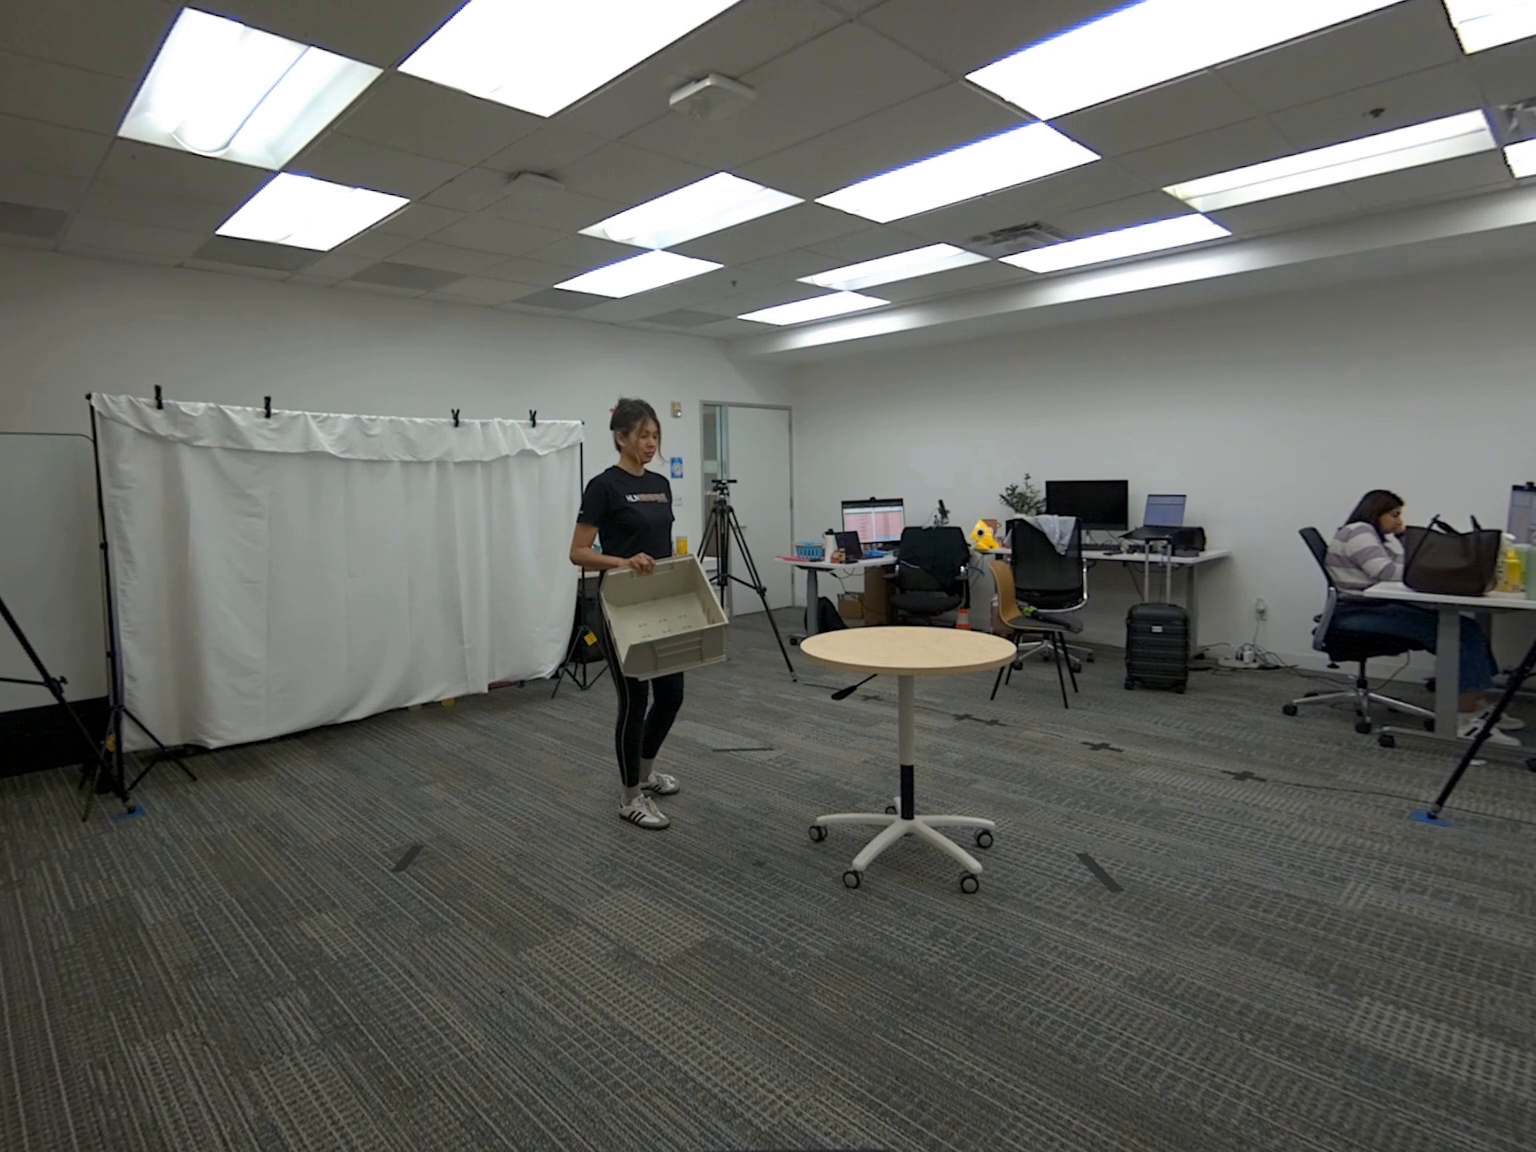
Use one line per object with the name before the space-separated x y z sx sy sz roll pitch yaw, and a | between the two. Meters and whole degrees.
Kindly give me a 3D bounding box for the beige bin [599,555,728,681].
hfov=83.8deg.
beige bin | -0.382 0.140 3.068 0.372 0.184 0.438 -10 38 -16
